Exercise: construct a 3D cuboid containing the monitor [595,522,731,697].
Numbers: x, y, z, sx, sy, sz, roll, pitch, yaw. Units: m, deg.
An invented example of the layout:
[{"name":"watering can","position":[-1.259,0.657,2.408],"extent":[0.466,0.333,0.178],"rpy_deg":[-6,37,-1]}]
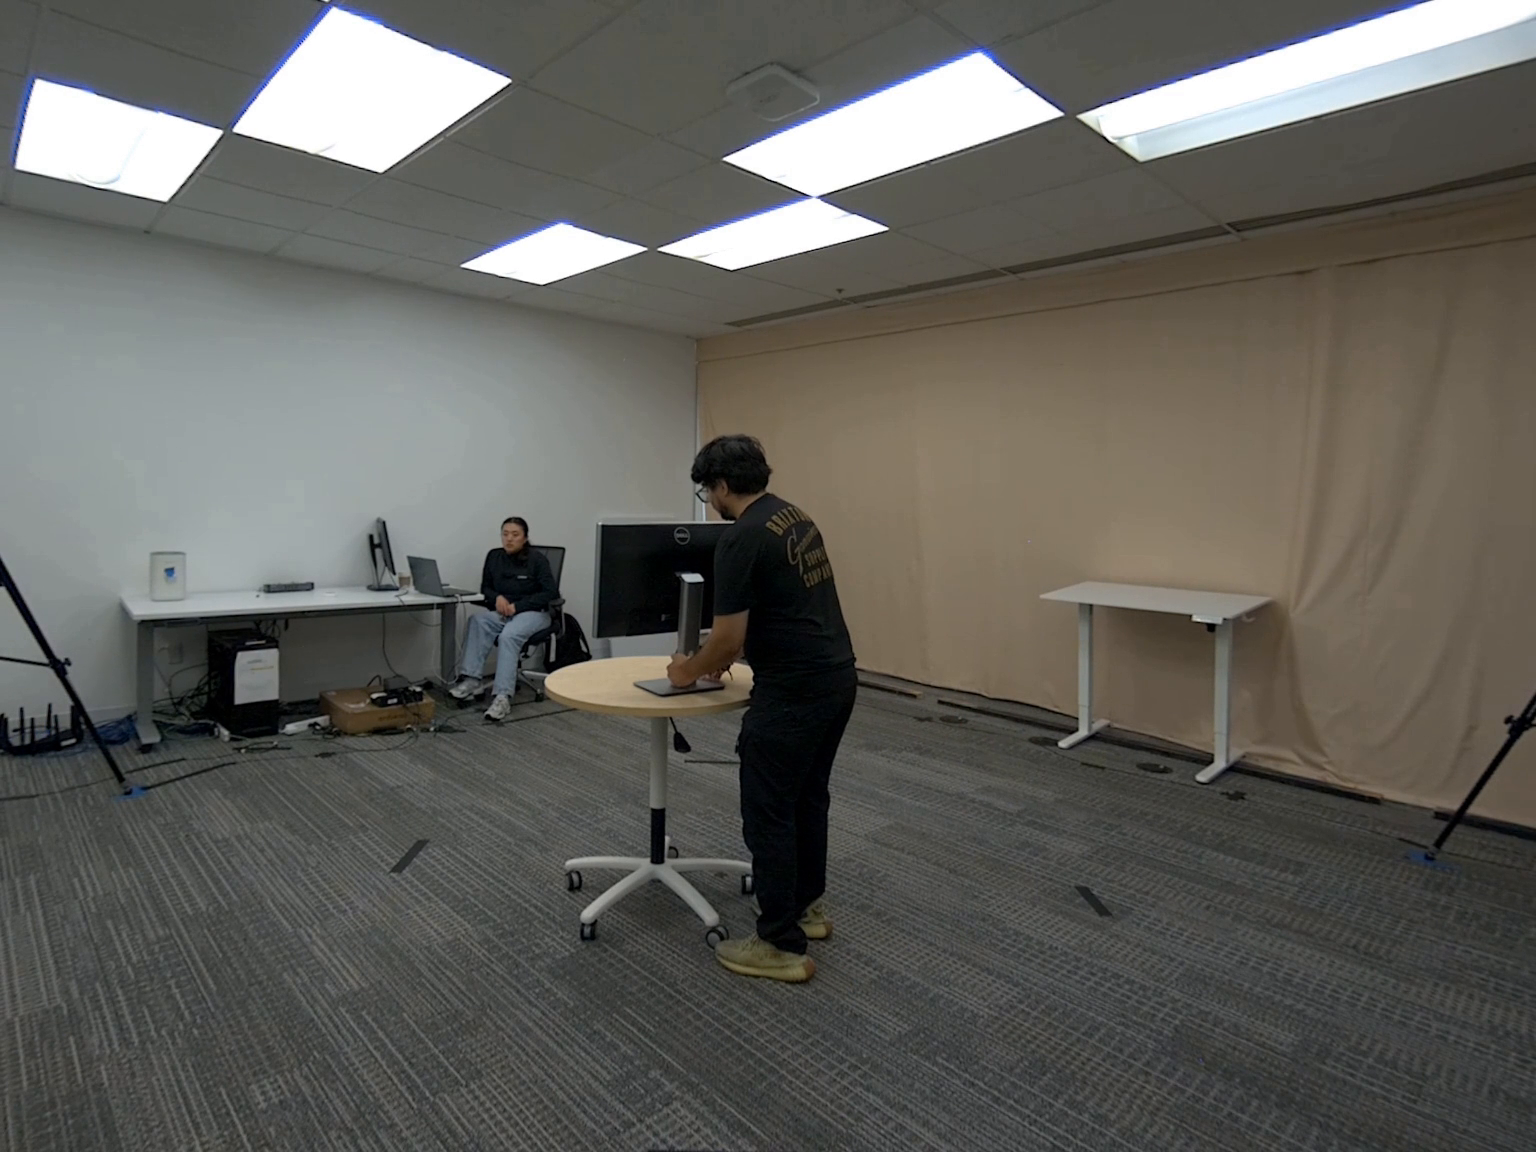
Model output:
[{"name":"monitor","position":[-0.271,0.102,2.690],"extent":[0.553,0.552,0.215],"rpy_deg":[-2,7,-34]}]
